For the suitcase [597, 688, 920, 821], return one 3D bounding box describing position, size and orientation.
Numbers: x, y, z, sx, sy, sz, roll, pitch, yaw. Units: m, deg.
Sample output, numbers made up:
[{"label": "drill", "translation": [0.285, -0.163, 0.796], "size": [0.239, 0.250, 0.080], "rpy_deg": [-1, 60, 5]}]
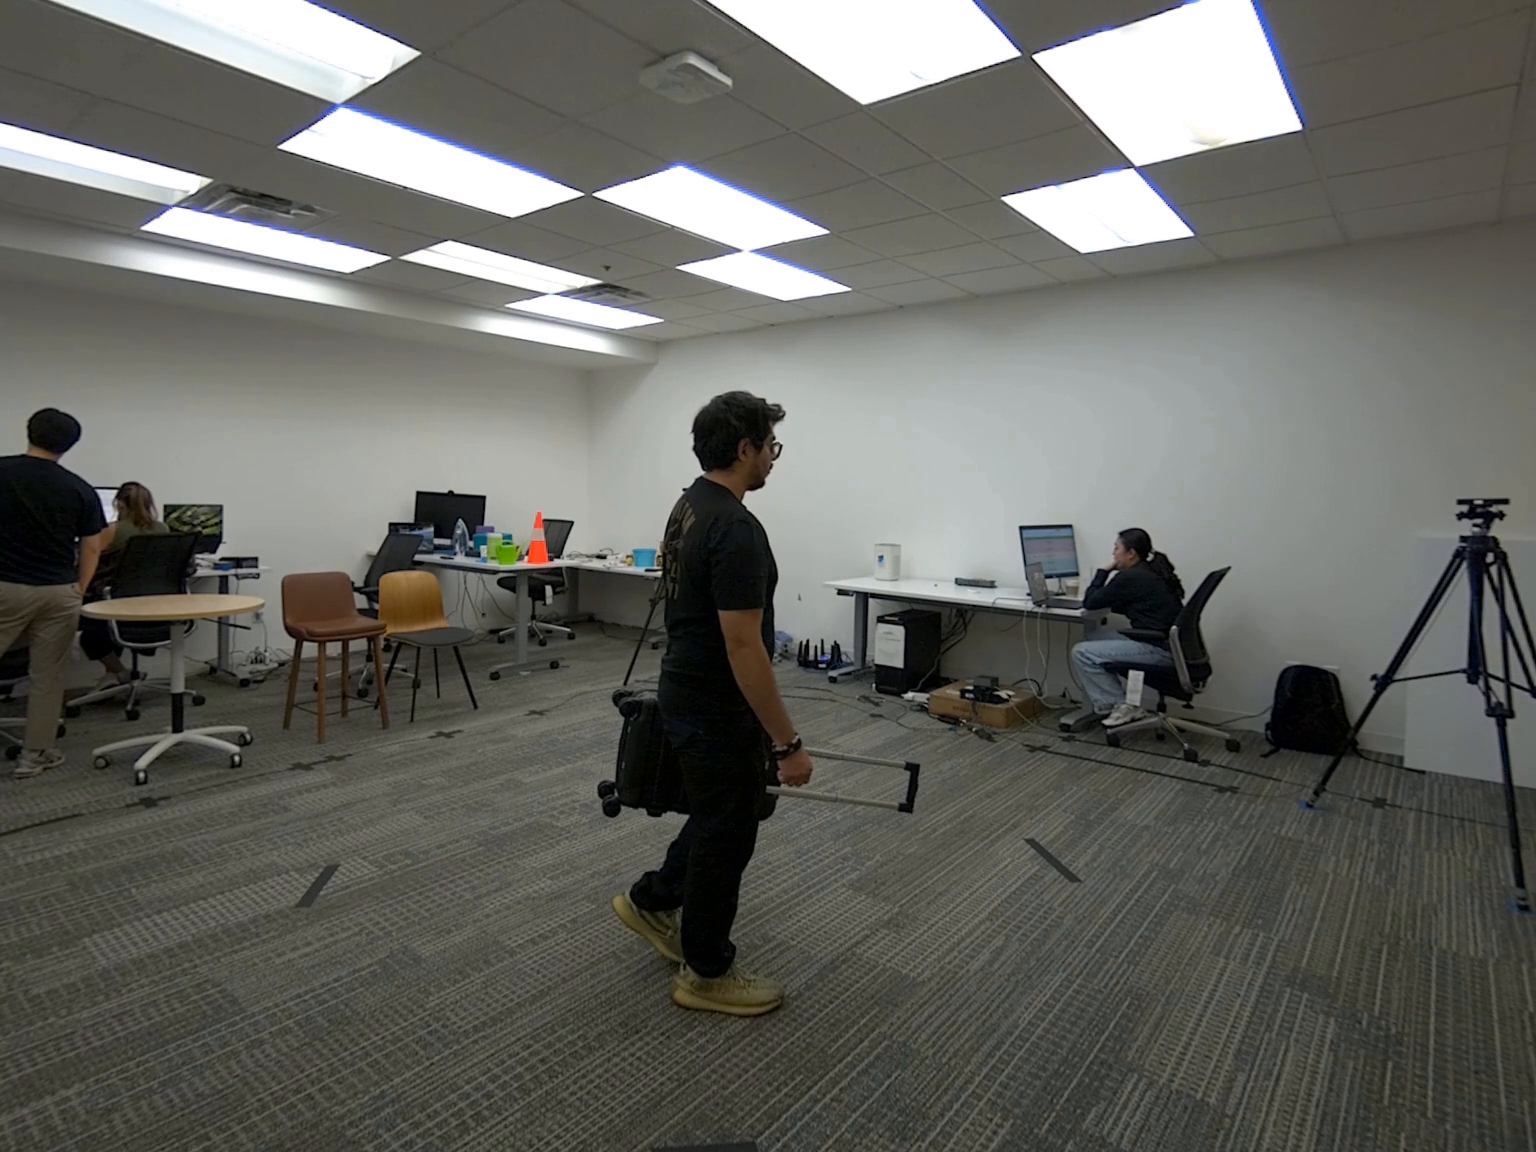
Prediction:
[{"label": "suitcase", "translation": [-0.032, 0.575, 2.718], "size": [0.963, 0.385, 0.260], "rpy_deg": [7, -4, -13]}]
